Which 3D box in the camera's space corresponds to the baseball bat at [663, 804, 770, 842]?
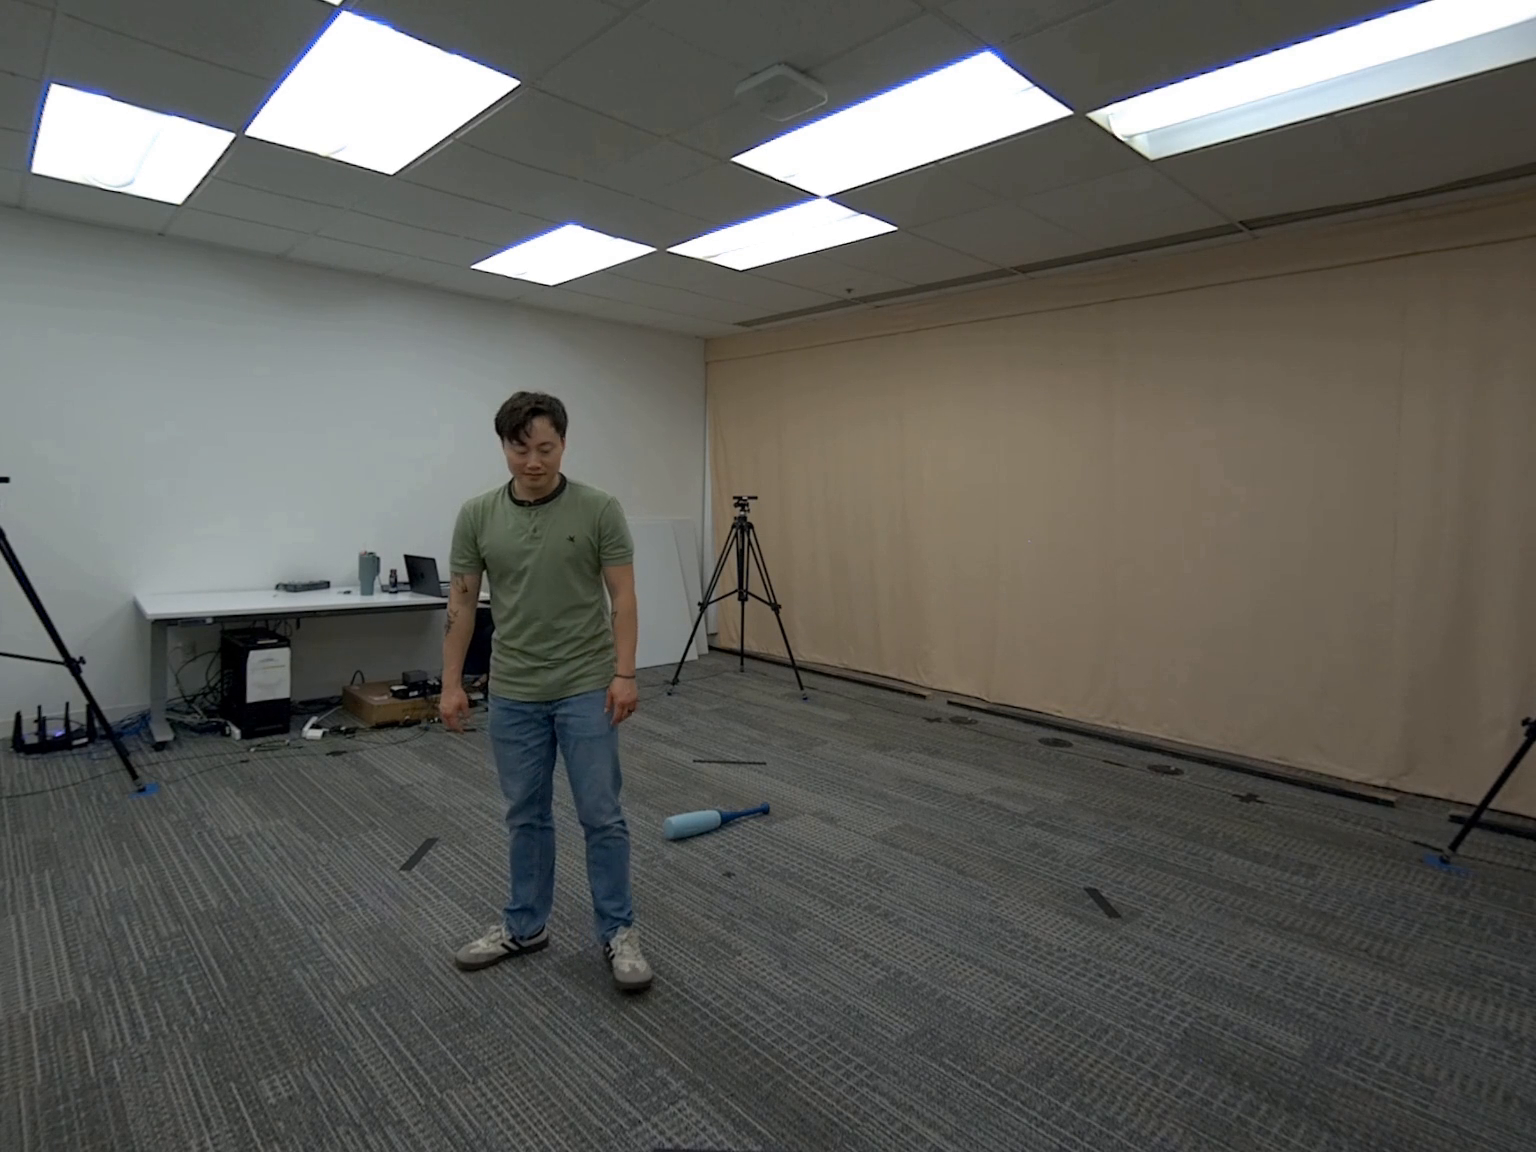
[{"bbox_3d":[-0.215,1.028,3.560,0.530,0.089,0.091,3,2,-41],"label":"baseball bat"}]
